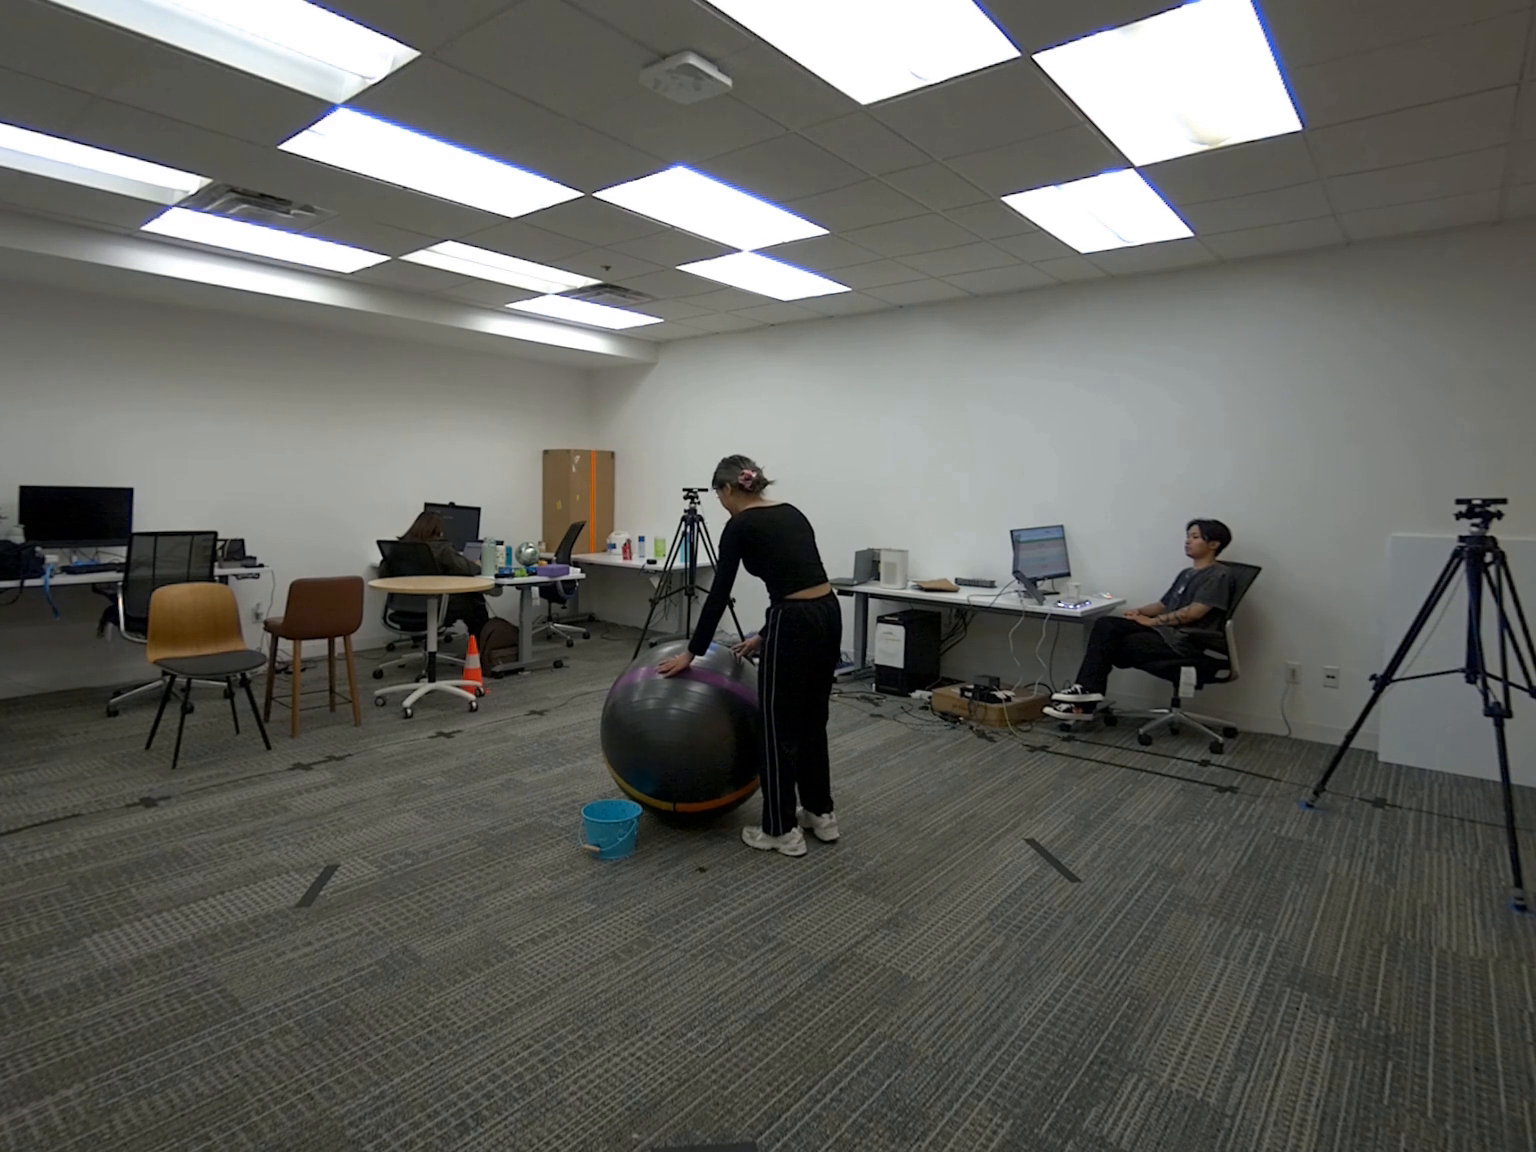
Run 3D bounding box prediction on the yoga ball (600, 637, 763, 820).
[{"bbox_3d":[-0.348,0.654,3.627,0.757,0.755,0.762,1,4,-2],"label":"yoga ball"}]
